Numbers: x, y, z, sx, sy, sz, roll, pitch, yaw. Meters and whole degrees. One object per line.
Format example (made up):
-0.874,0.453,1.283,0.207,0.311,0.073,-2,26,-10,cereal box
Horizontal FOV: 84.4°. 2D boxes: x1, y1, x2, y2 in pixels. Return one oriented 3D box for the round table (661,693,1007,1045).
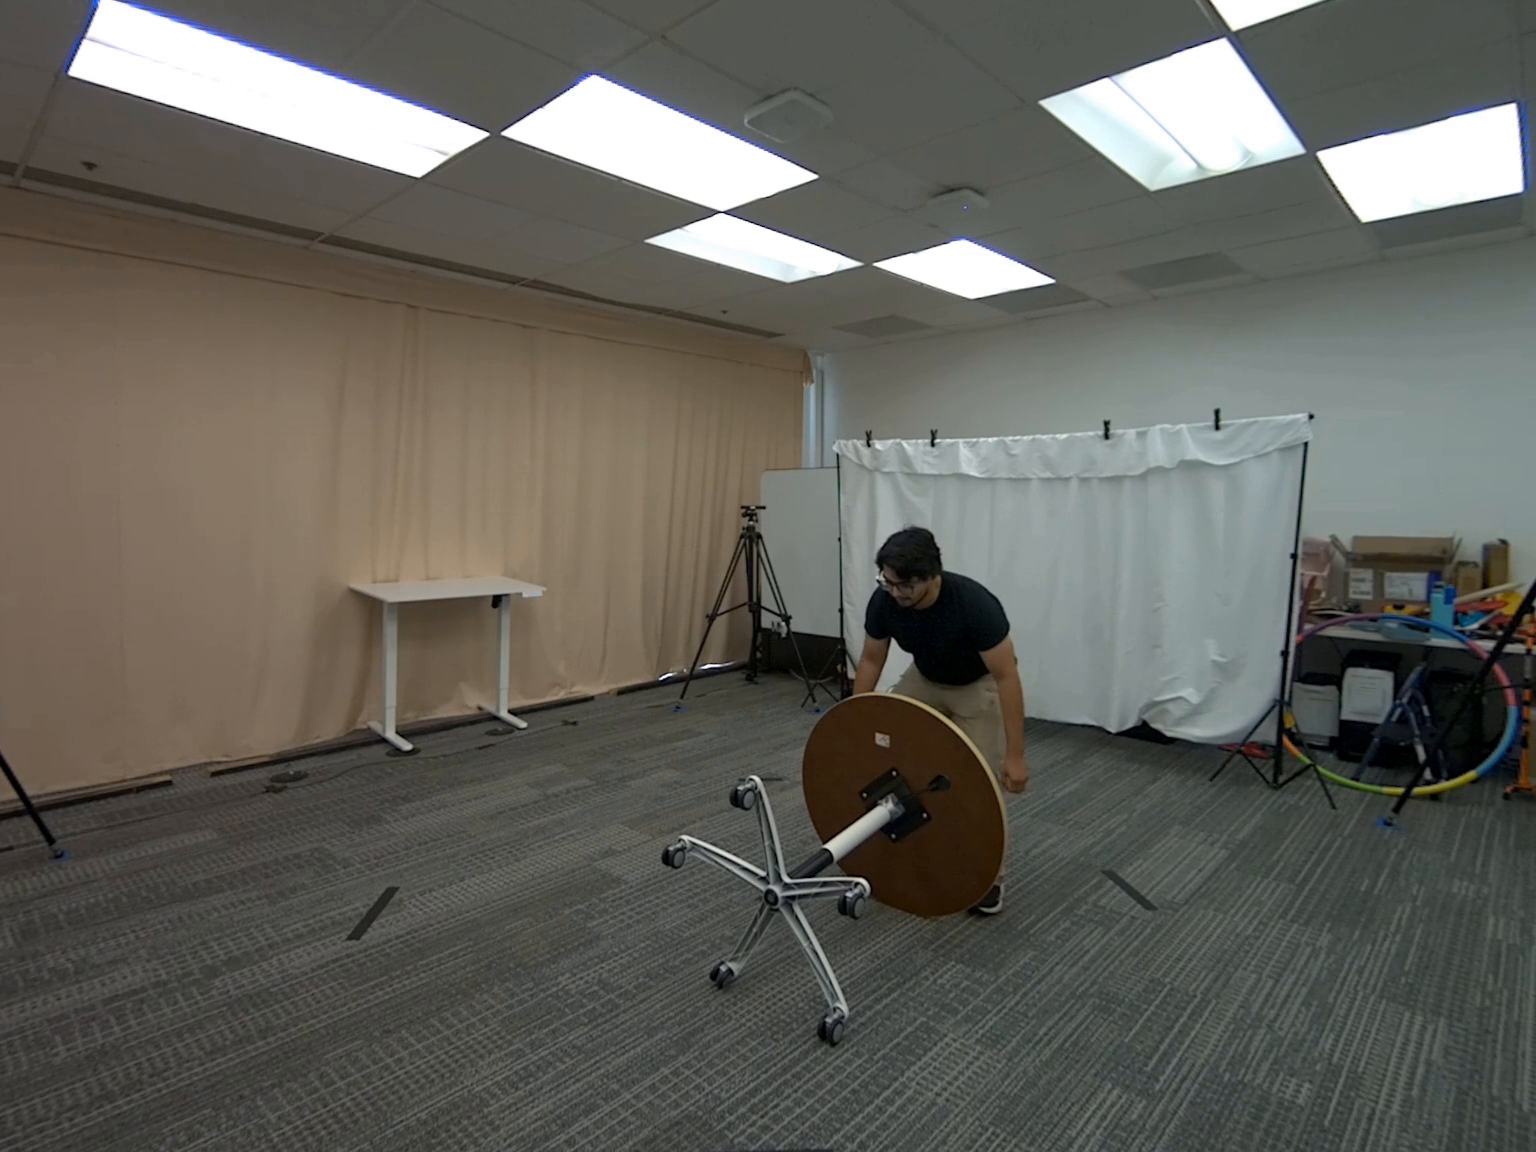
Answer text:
0.205,0.843,2.573,0.811,0.780,0.766,3,12,40,round table
